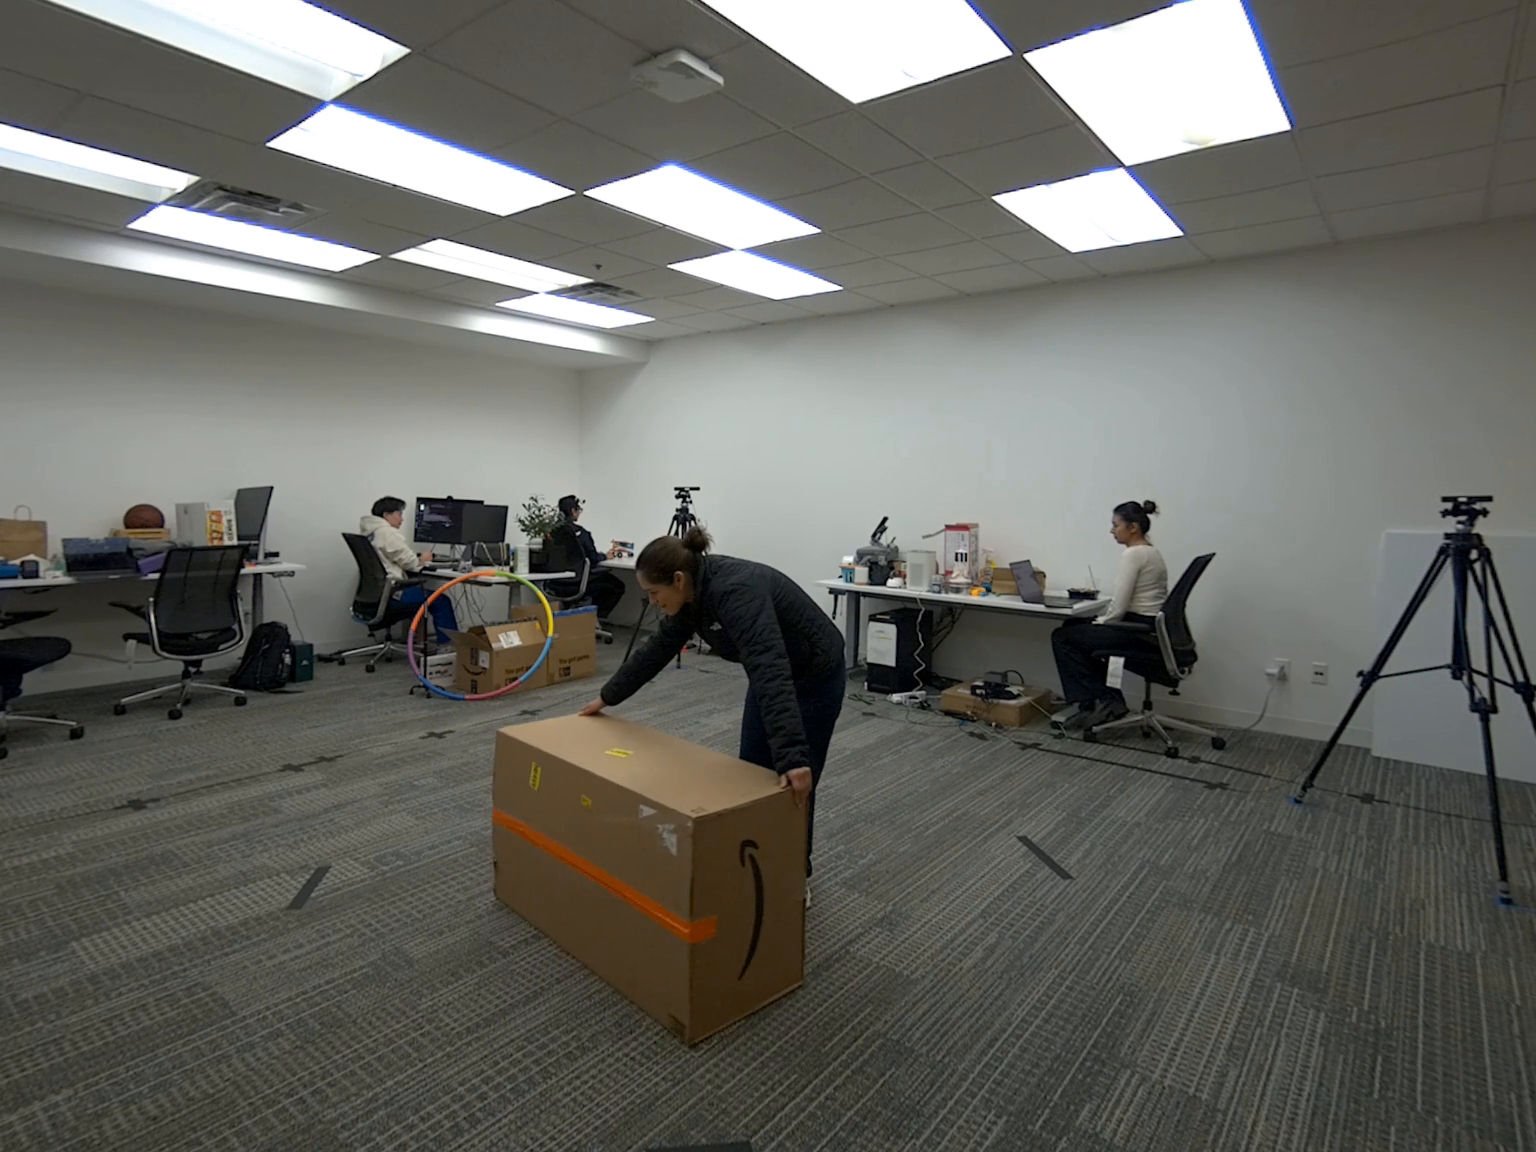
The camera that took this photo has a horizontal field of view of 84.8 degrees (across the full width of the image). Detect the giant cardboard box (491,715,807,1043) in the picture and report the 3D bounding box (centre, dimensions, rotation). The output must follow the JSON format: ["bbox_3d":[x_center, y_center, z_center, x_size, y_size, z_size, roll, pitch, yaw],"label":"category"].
[{"bbox_3d":[-0.394,0.824,2.627,0.433,0.582,1.062,-3,6,-44],"label":"giant cardboard box"}]
